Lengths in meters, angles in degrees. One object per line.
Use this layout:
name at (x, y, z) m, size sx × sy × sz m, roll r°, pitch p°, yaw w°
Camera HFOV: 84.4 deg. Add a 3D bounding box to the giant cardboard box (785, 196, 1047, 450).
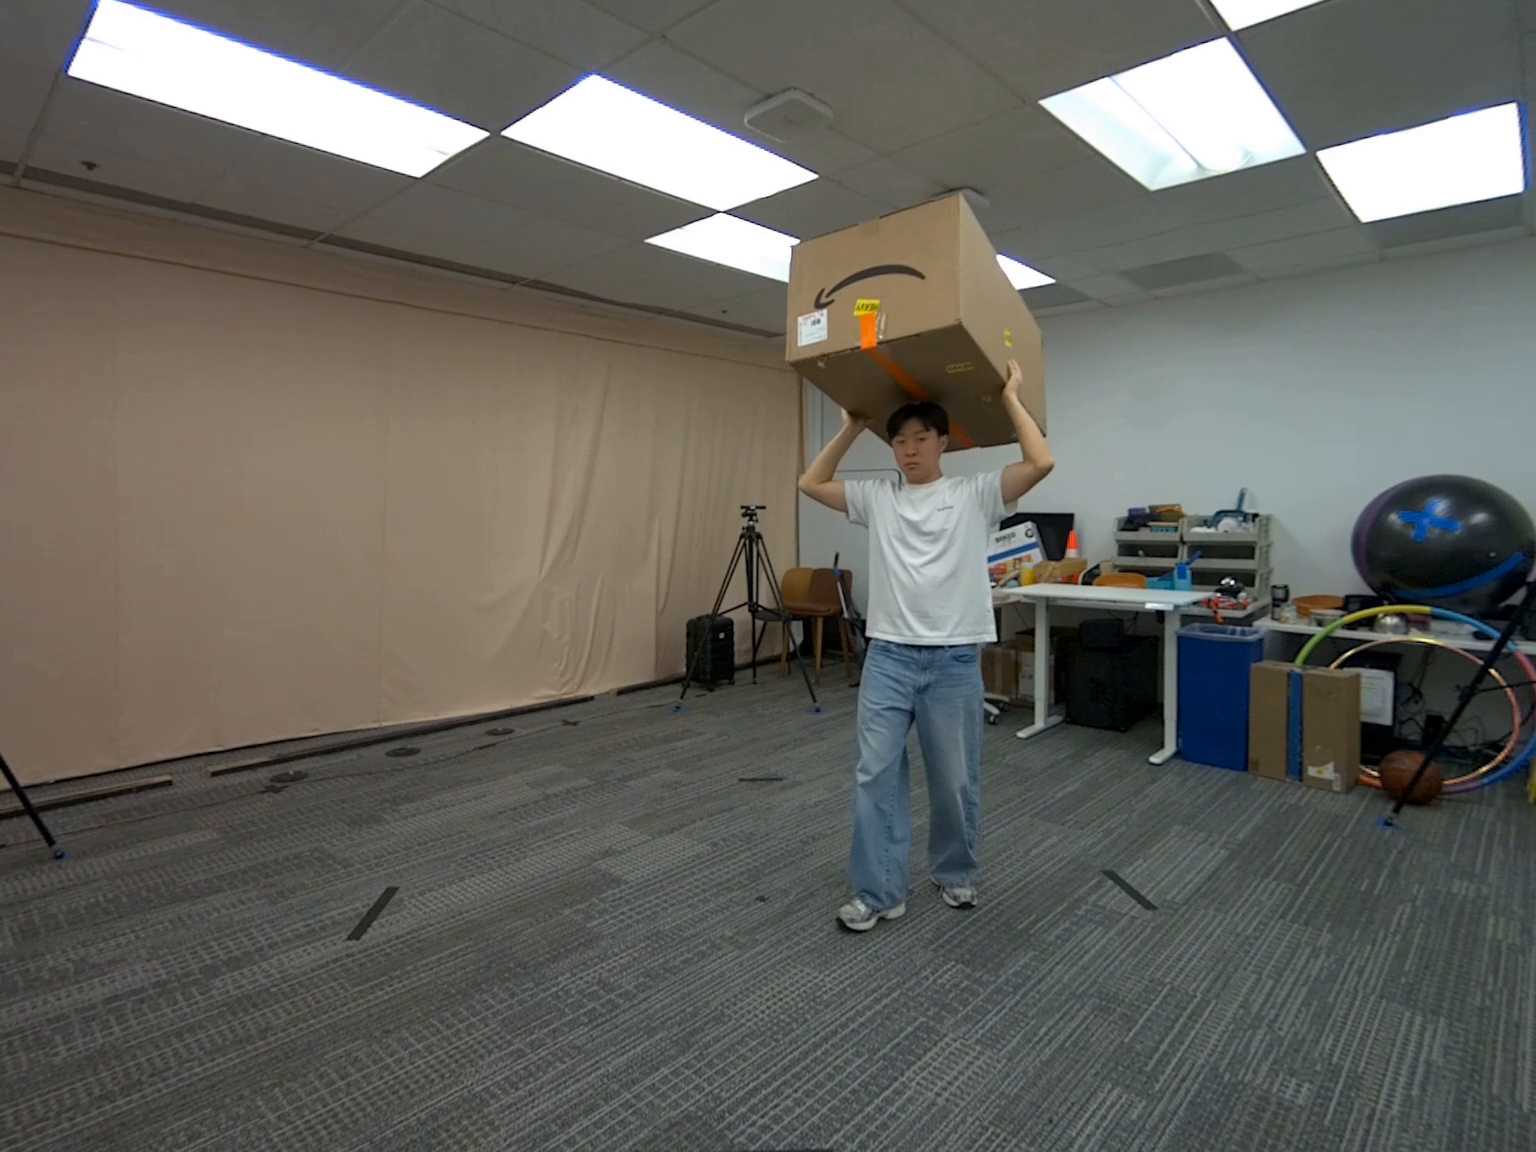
giant cardboard box at (0.561, -0.800, 2.983) m, size 0.593 × 0.429 × 0.991 m, roll -5°, pitch -14°, yaw 31°
